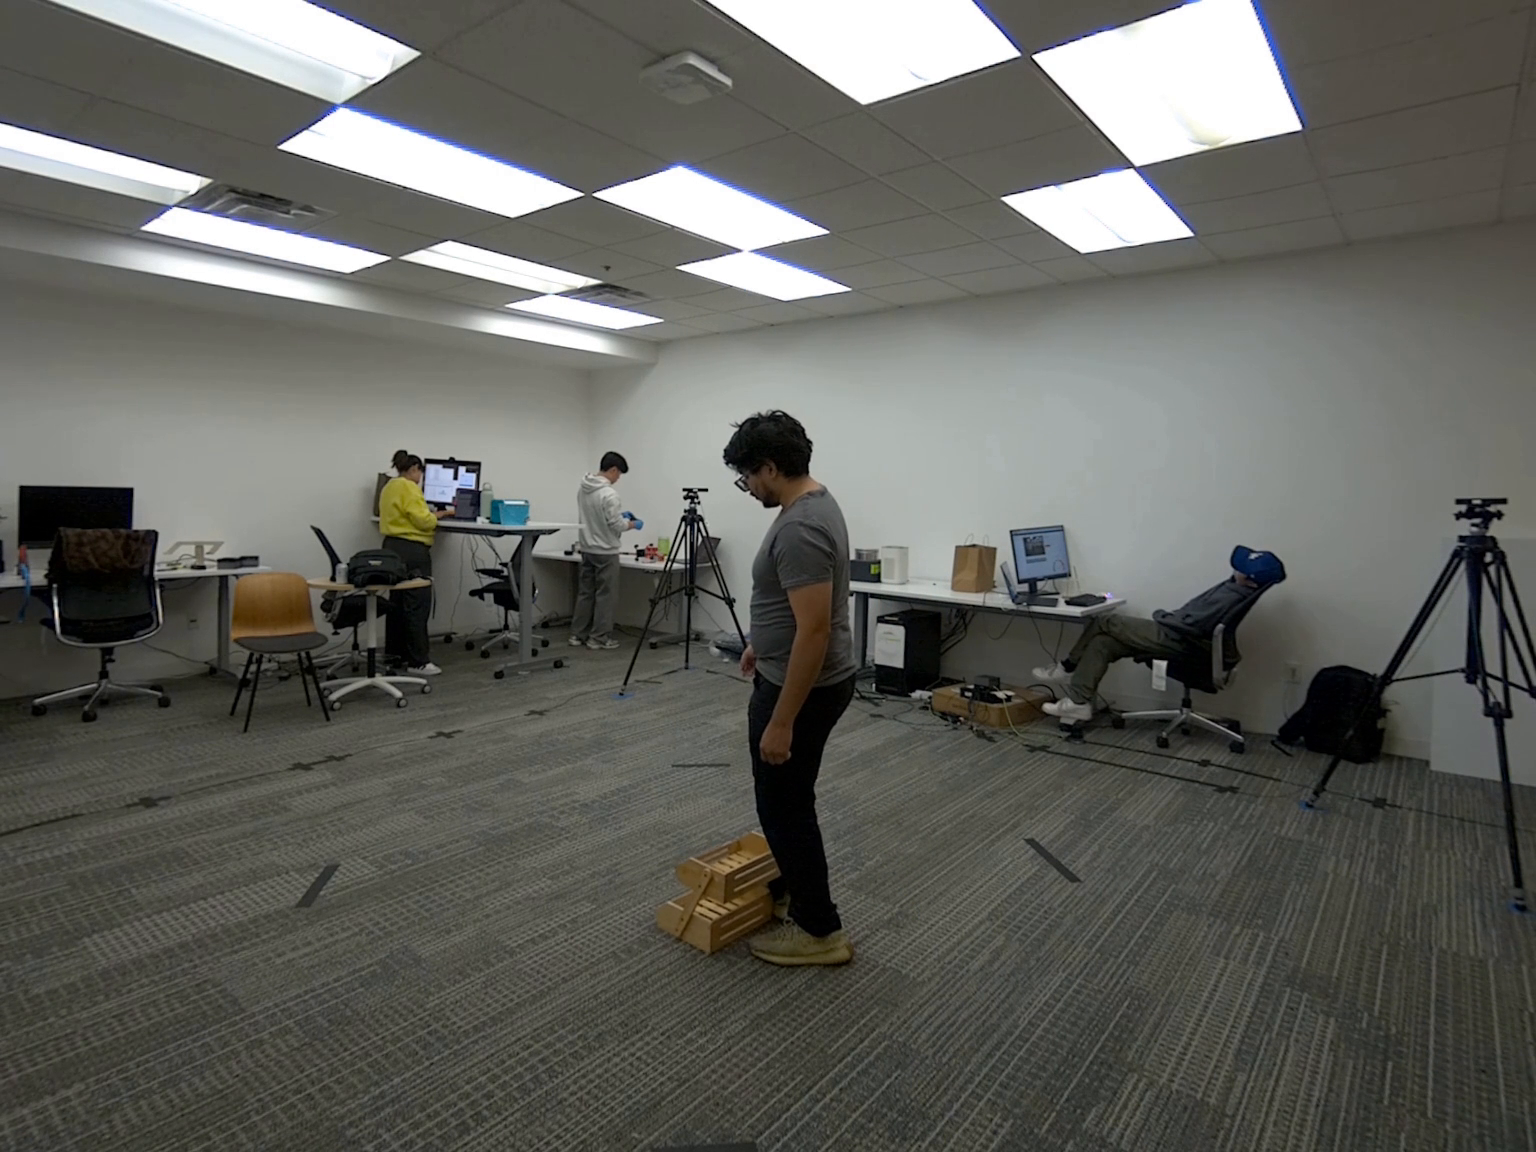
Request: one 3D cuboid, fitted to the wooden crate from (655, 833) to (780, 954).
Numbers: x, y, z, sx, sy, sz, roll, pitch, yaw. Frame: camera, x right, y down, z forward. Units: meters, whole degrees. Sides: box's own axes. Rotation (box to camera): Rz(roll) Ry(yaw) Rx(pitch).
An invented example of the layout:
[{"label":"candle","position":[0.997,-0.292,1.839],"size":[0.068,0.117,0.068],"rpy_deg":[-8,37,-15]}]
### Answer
[{"label":"wooden crate","position":[-0.163,0.975,2.709],"size":[0.312,0.272,0.315],"rpy_deg":[6,6,40]}]
